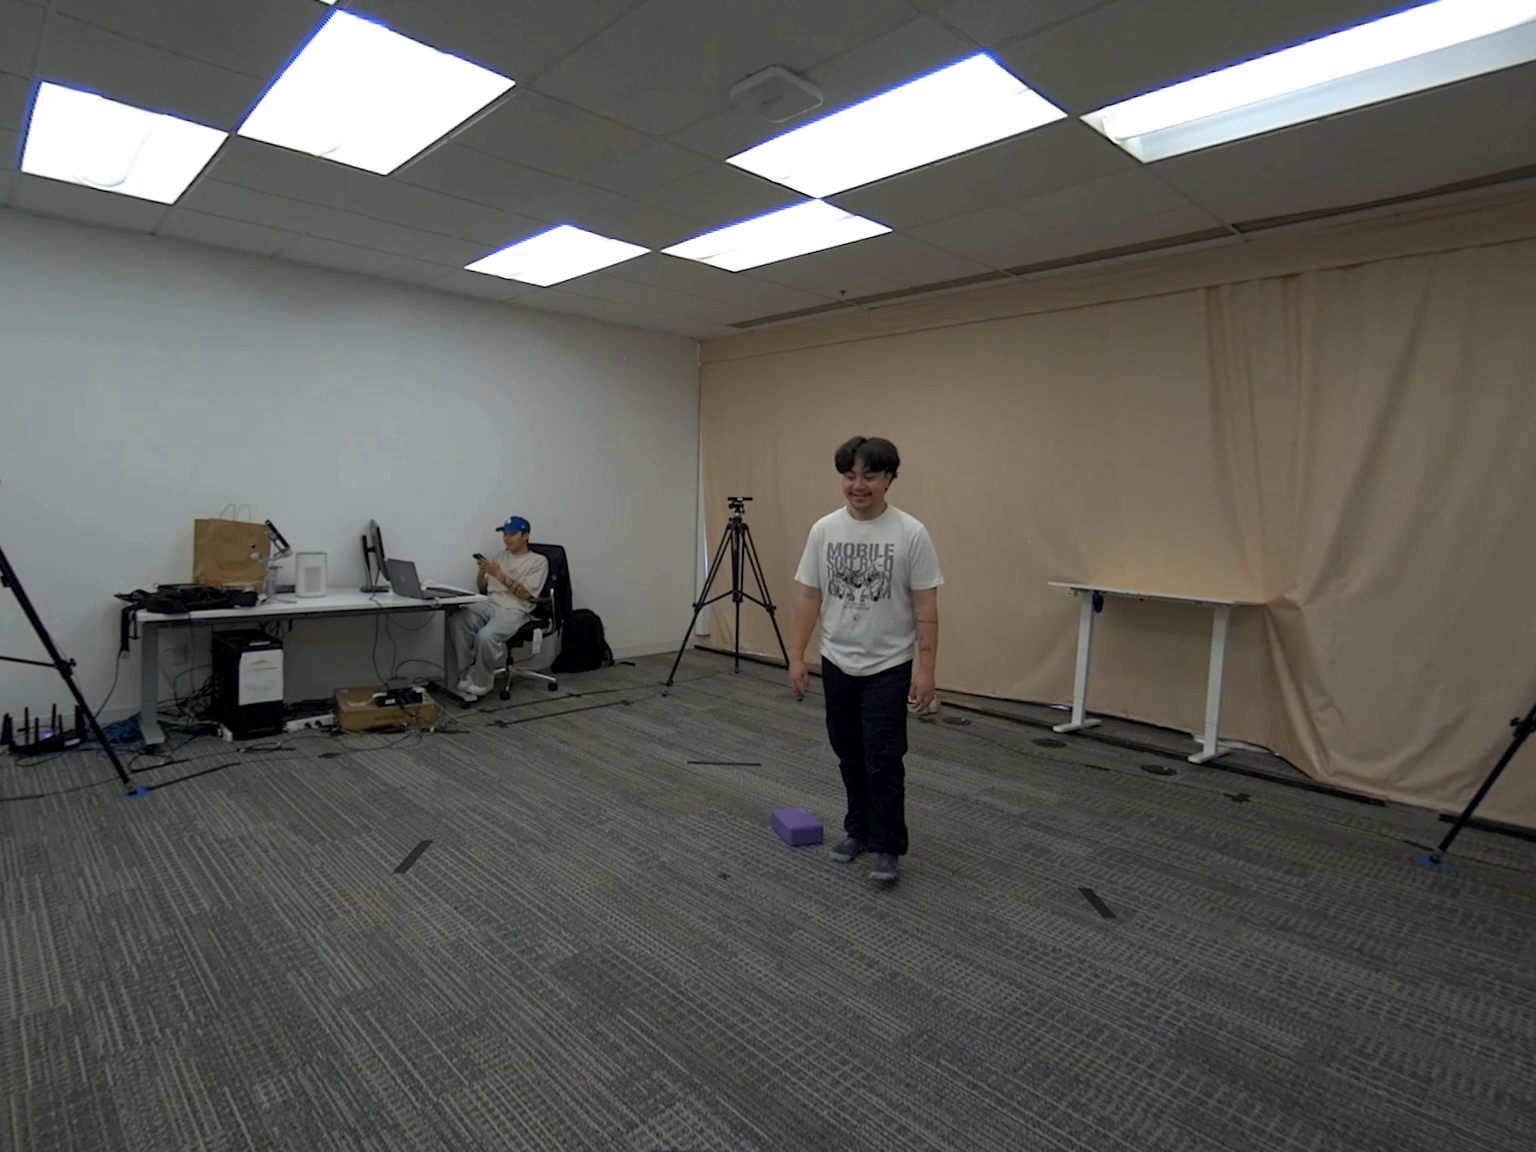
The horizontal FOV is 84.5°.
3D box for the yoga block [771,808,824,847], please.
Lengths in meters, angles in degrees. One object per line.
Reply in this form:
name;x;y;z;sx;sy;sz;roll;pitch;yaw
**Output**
yoga block;0.110;1.039;3.505;0.147;0.076;0.233;-1;4;-18
